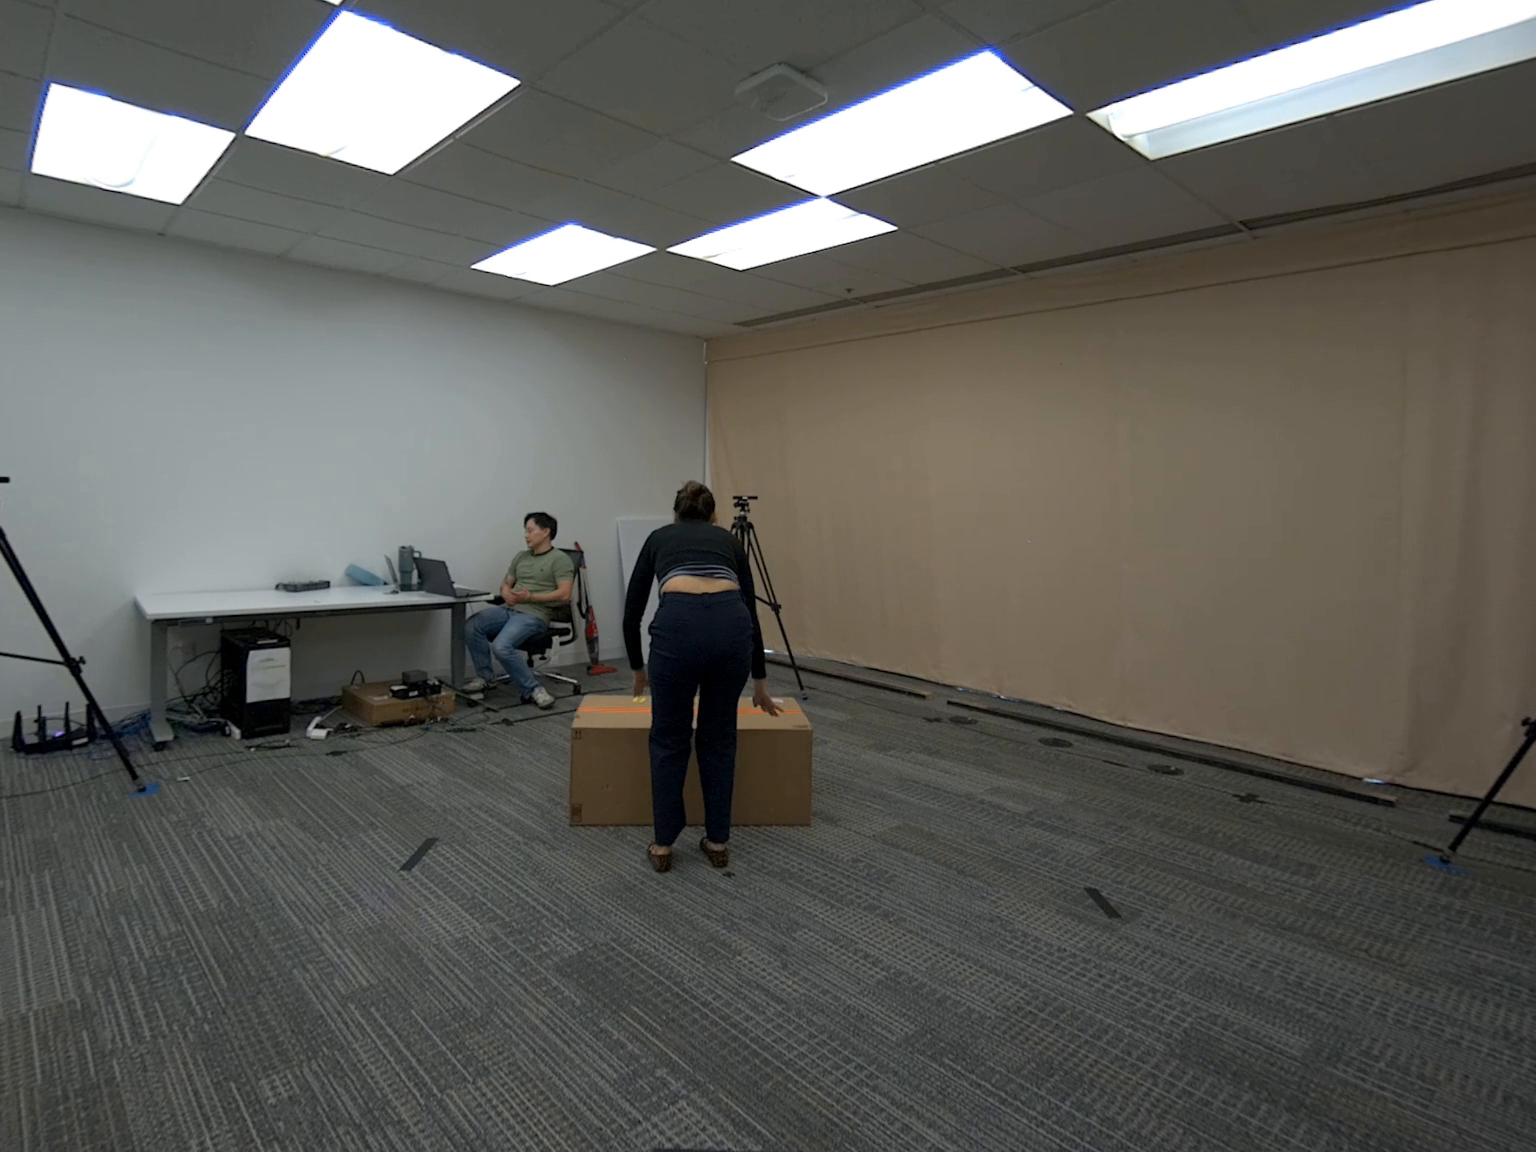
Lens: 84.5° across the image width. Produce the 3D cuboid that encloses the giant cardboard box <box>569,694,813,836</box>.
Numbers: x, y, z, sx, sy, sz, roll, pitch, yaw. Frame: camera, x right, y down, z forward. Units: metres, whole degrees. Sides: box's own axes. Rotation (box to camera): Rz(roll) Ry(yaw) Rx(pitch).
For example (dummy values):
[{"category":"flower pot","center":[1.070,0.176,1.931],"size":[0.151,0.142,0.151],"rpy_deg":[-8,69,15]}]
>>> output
[{"category":"giant cardboard box","center":[-0.362,0.812,3.832],"size":[1.022,0.425,0.581],"rpy_deg":[1,5,-5]}]
